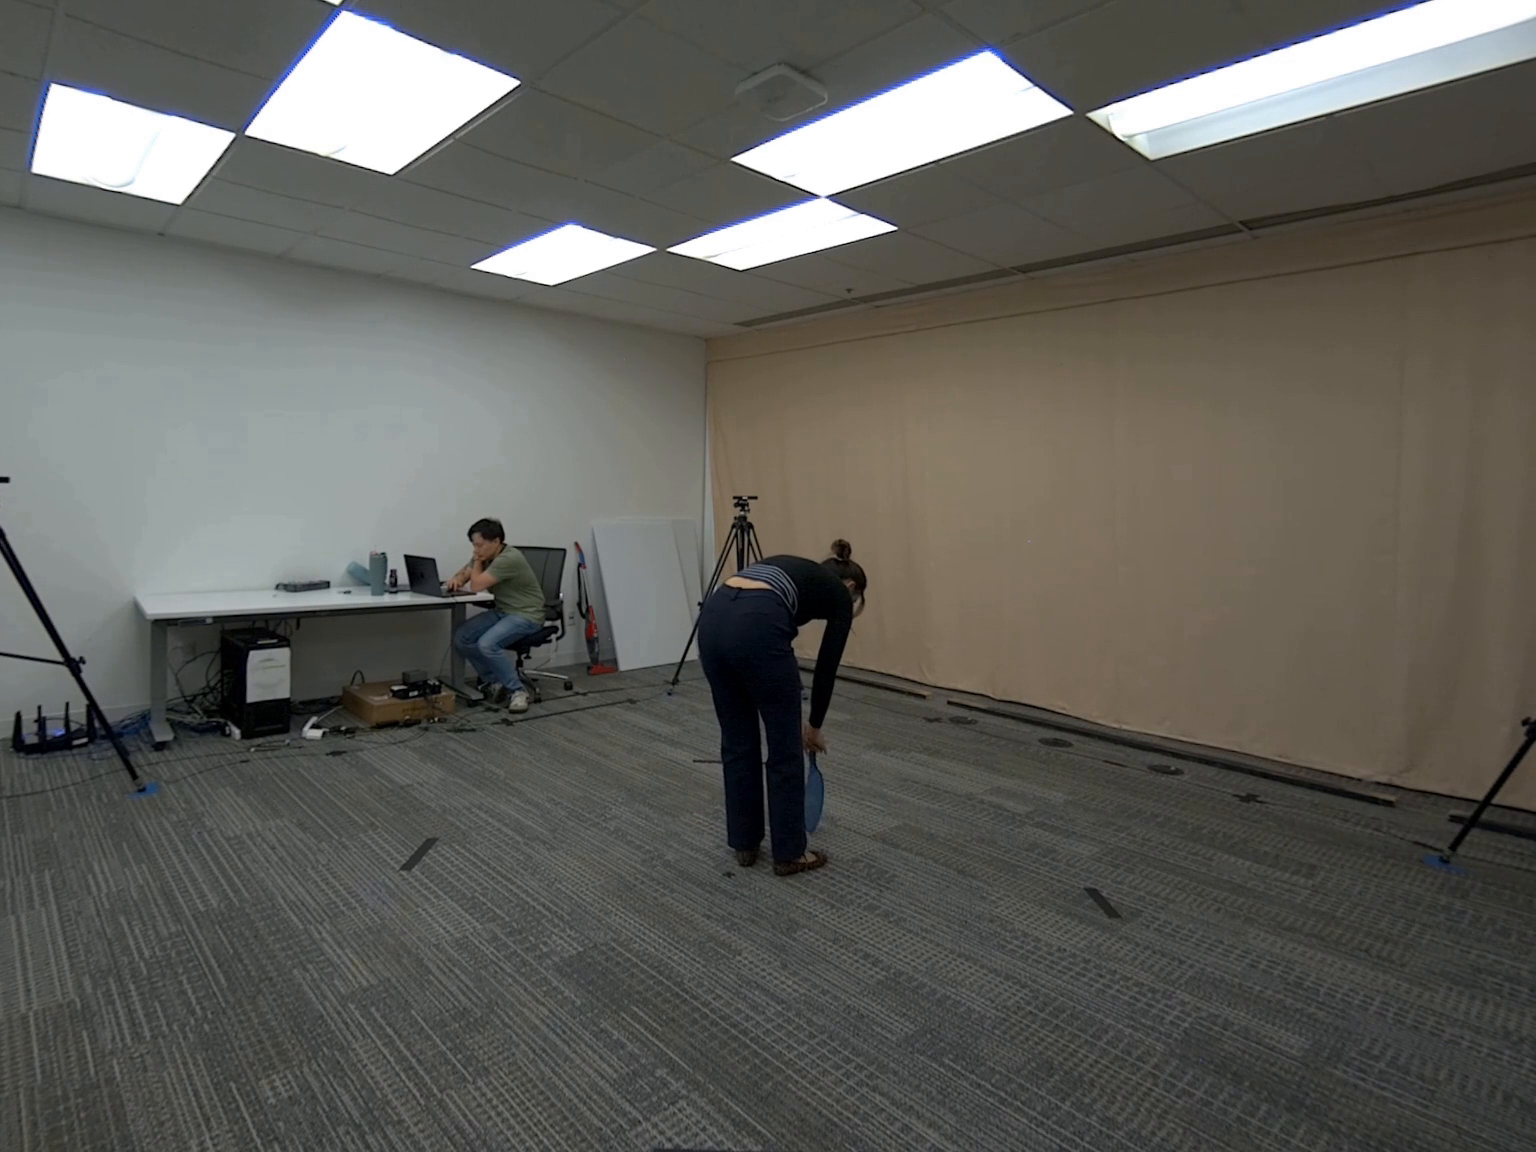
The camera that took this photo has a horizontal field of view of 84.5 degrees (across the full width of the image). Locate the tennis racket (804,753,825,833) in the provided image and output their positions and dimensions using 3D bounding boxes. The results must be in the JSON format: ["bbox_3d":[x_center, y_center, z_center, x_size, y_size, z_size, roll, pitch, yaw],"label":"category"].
[{"bbox_3d":[0.185,0.859,3.507,0.032,0.430,0.211,5,10,25],"label":"tennis racket"}]
